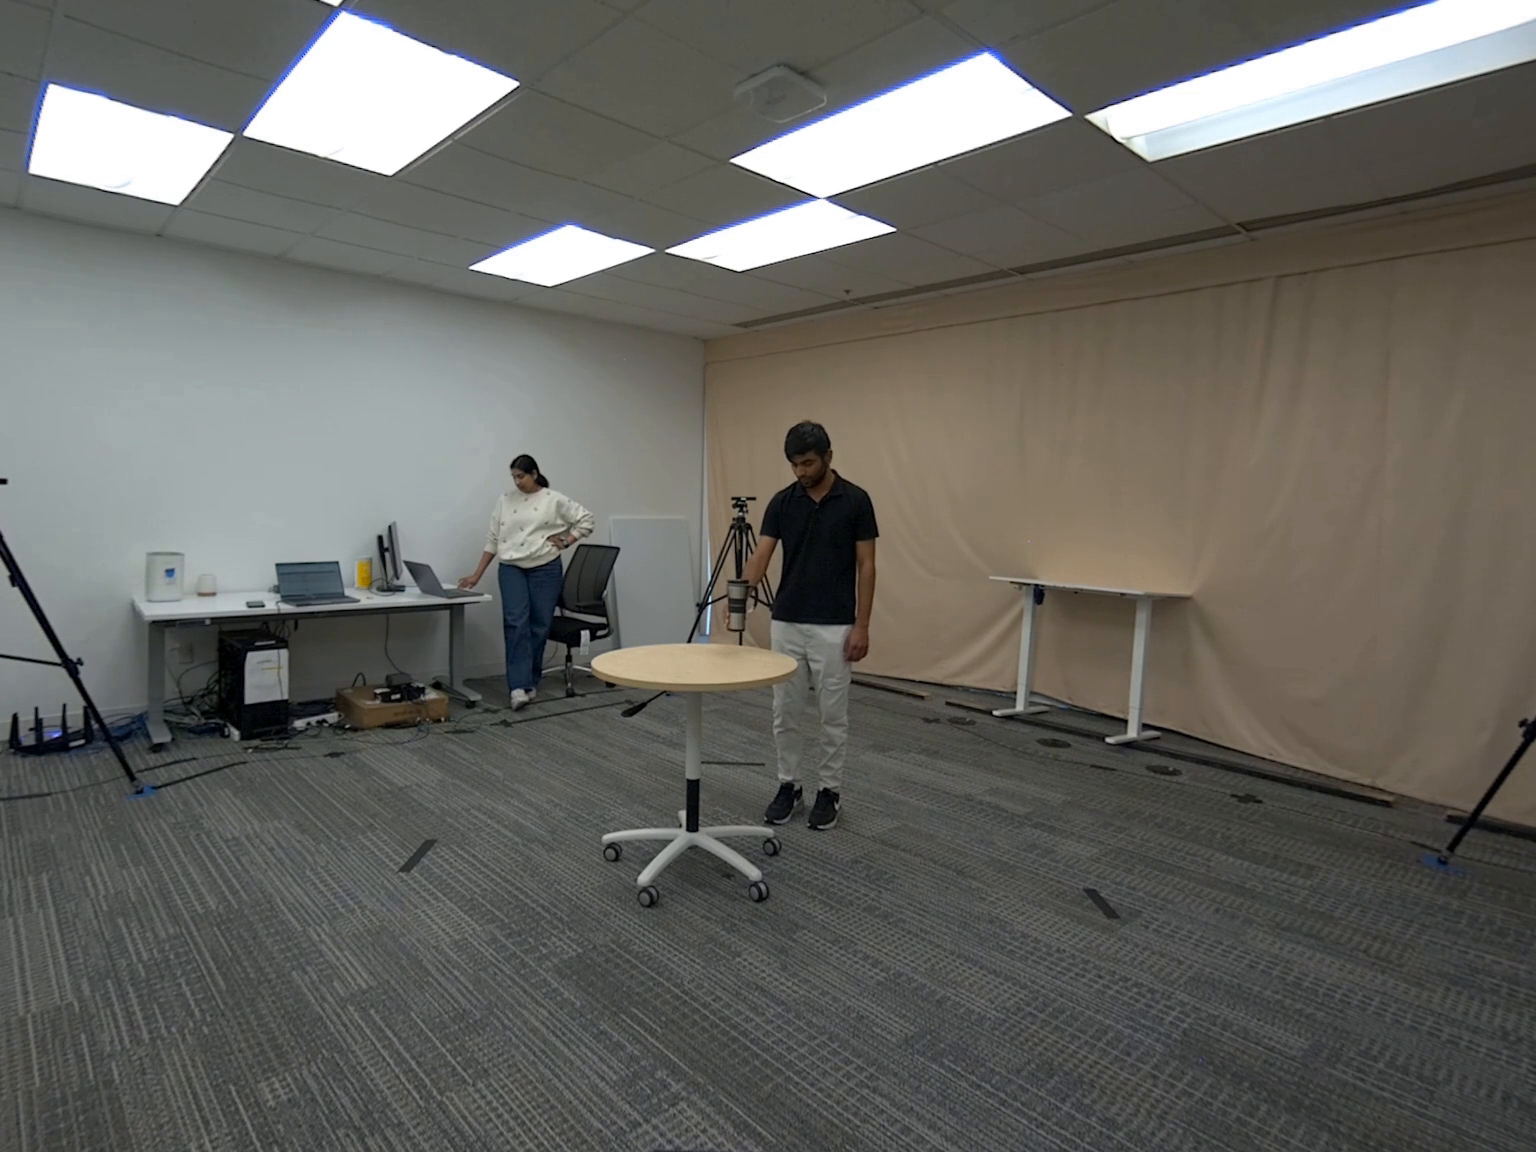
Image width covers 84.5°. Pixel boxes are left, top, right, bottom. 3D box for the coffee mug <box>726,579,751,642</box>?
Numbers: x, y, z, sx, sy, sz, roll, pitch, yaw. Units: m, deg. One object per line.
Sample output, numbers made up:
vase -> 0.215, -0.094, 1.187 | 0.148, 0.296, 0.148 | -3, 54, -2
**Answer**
coffee mug -> -0.104, 0.116, 3.286 | 0.124, 0.203, 0.086 | 1, 0, 26
